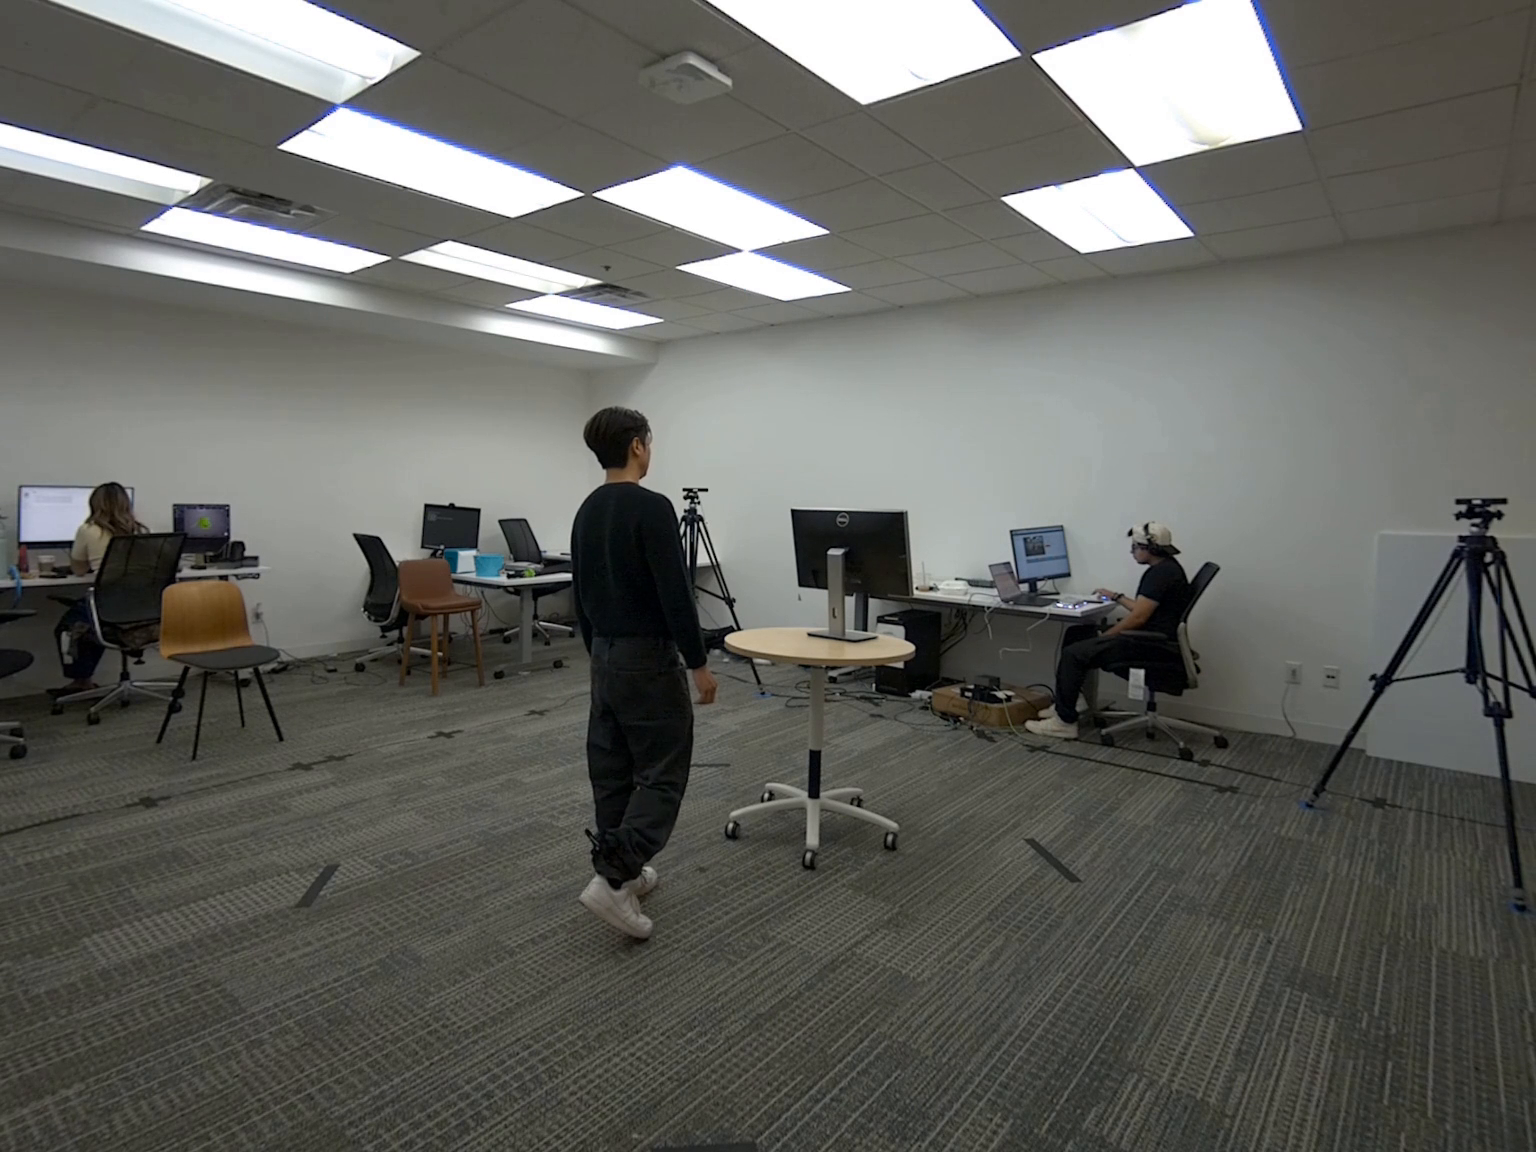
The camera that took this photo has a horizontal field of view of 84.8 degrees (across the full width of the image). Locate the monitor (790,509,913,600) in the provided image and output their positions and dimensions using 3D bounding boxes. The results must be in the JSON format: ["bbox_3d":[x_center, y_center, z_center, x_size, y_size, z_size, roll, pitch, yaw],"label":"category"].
[{"bbox_3d":[0.314,-0.011,3.597,0.557,0.522,0.181,4,2,36],"label":"monitor"}]
